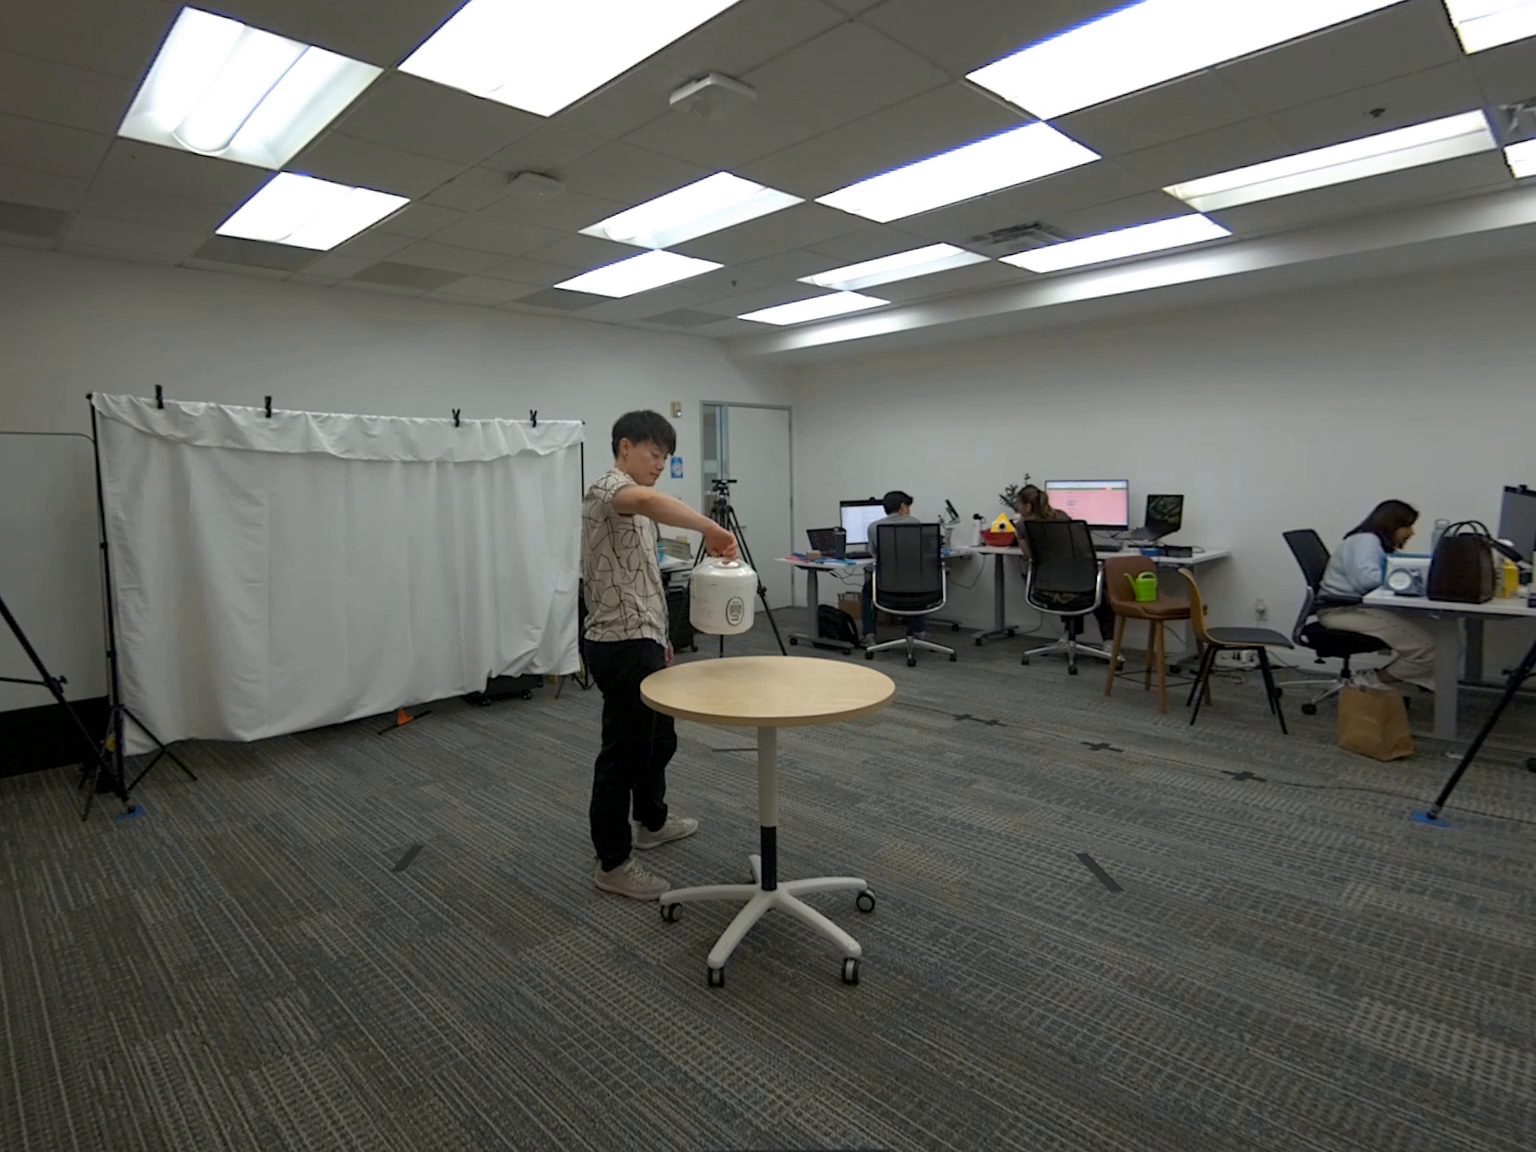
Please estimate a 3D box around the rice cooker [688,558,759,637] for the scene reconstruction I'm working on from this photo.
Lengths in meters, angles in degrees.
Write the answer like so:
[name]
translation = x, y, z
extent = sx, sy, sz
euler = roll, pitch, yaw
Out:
[rice cooker]
translation = -0.137, 0.054, 2.727
extent = 0.216, 0.231, 0.223
euler = -3, 8, -24
